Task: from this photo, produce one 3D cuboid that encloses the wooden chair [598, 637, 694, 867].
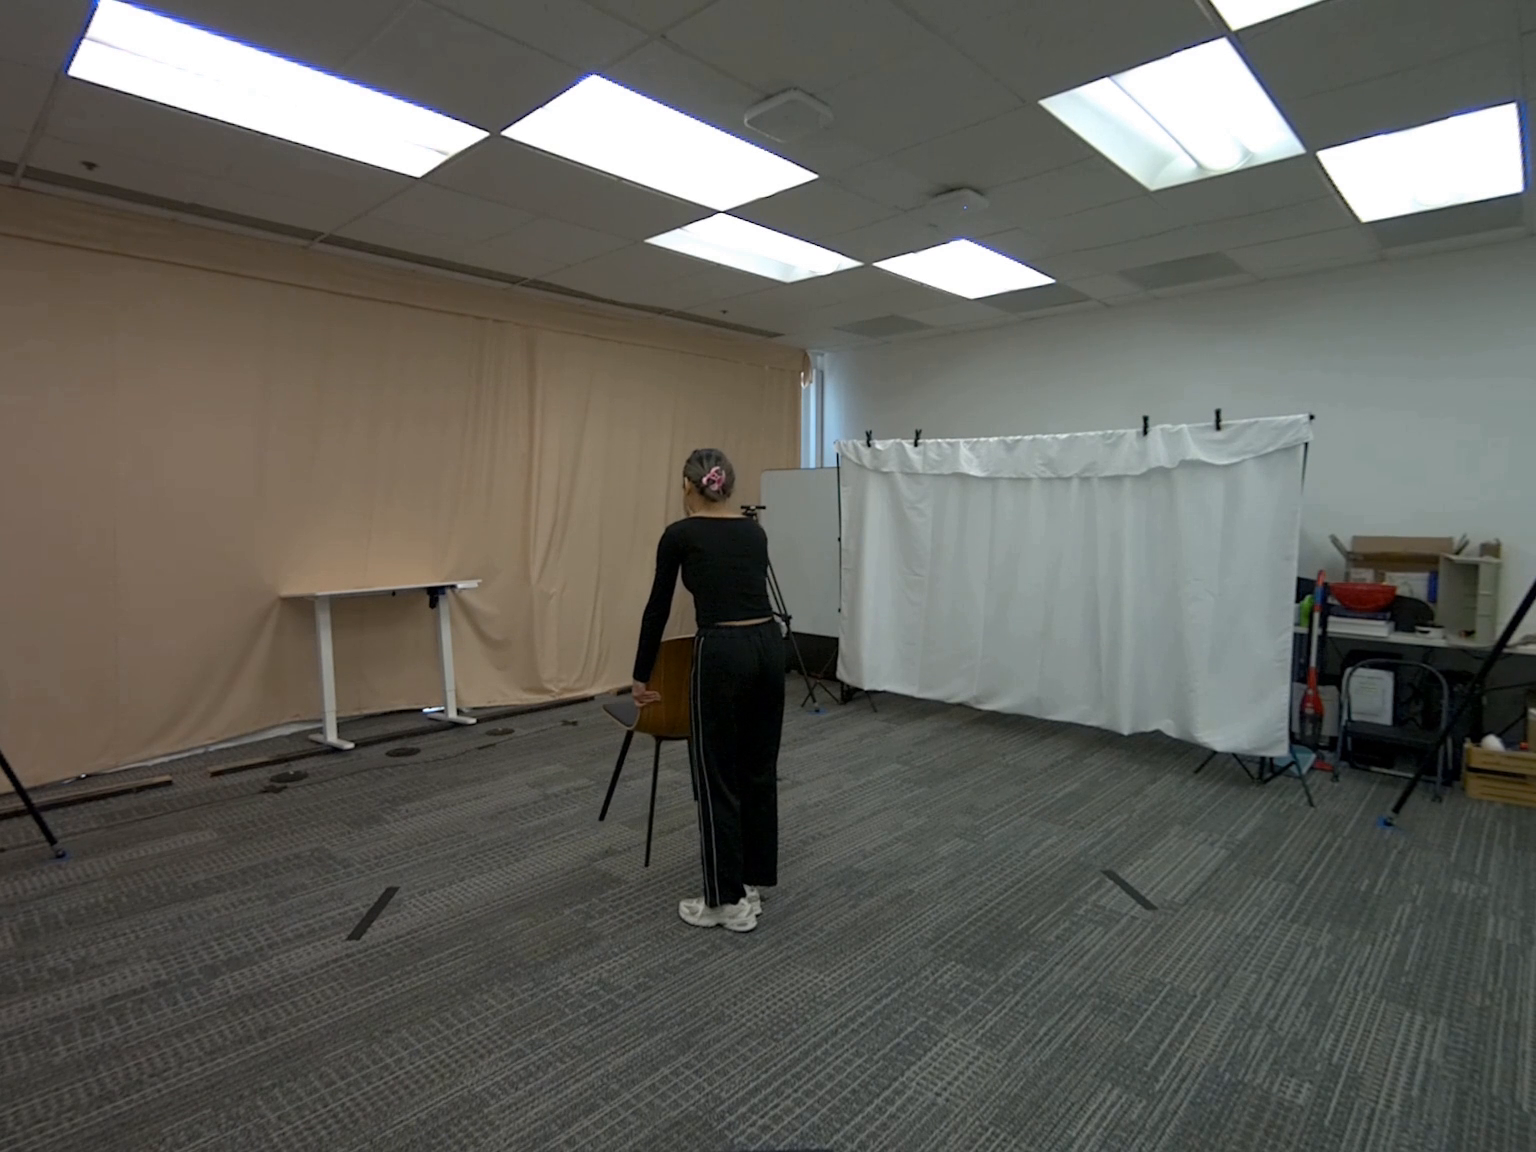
[{"bbox_3d":[-0.371,0.588,3.277,0.465,0.872,0.540,-3,12,-31],"label":"wooden chair"}]
